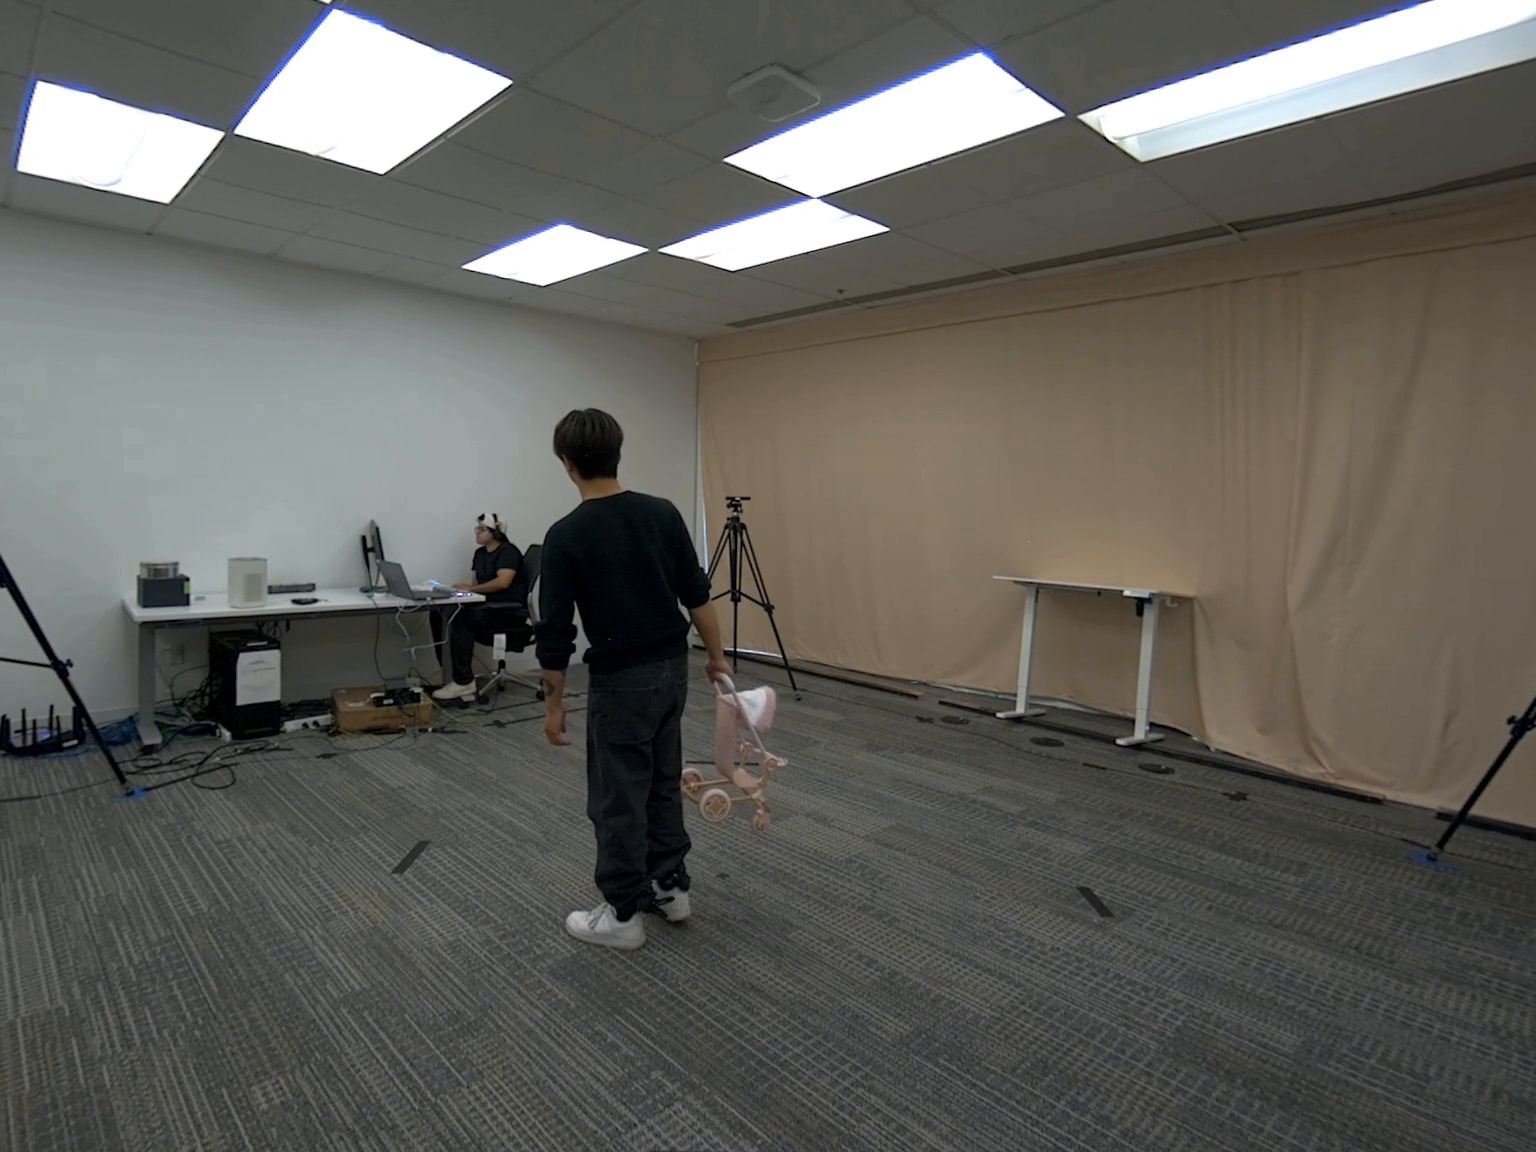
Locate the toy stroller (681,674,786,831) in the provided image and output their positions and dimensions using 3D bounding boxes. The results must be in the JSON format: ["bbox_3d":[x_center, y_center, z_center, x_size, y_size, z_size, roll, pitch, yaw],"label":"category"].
[{"bbox_3d":[-0.101,0.610,2.889,0.335,0.536,0.285,13,-4,-19],"label":"toy stroller"}]
